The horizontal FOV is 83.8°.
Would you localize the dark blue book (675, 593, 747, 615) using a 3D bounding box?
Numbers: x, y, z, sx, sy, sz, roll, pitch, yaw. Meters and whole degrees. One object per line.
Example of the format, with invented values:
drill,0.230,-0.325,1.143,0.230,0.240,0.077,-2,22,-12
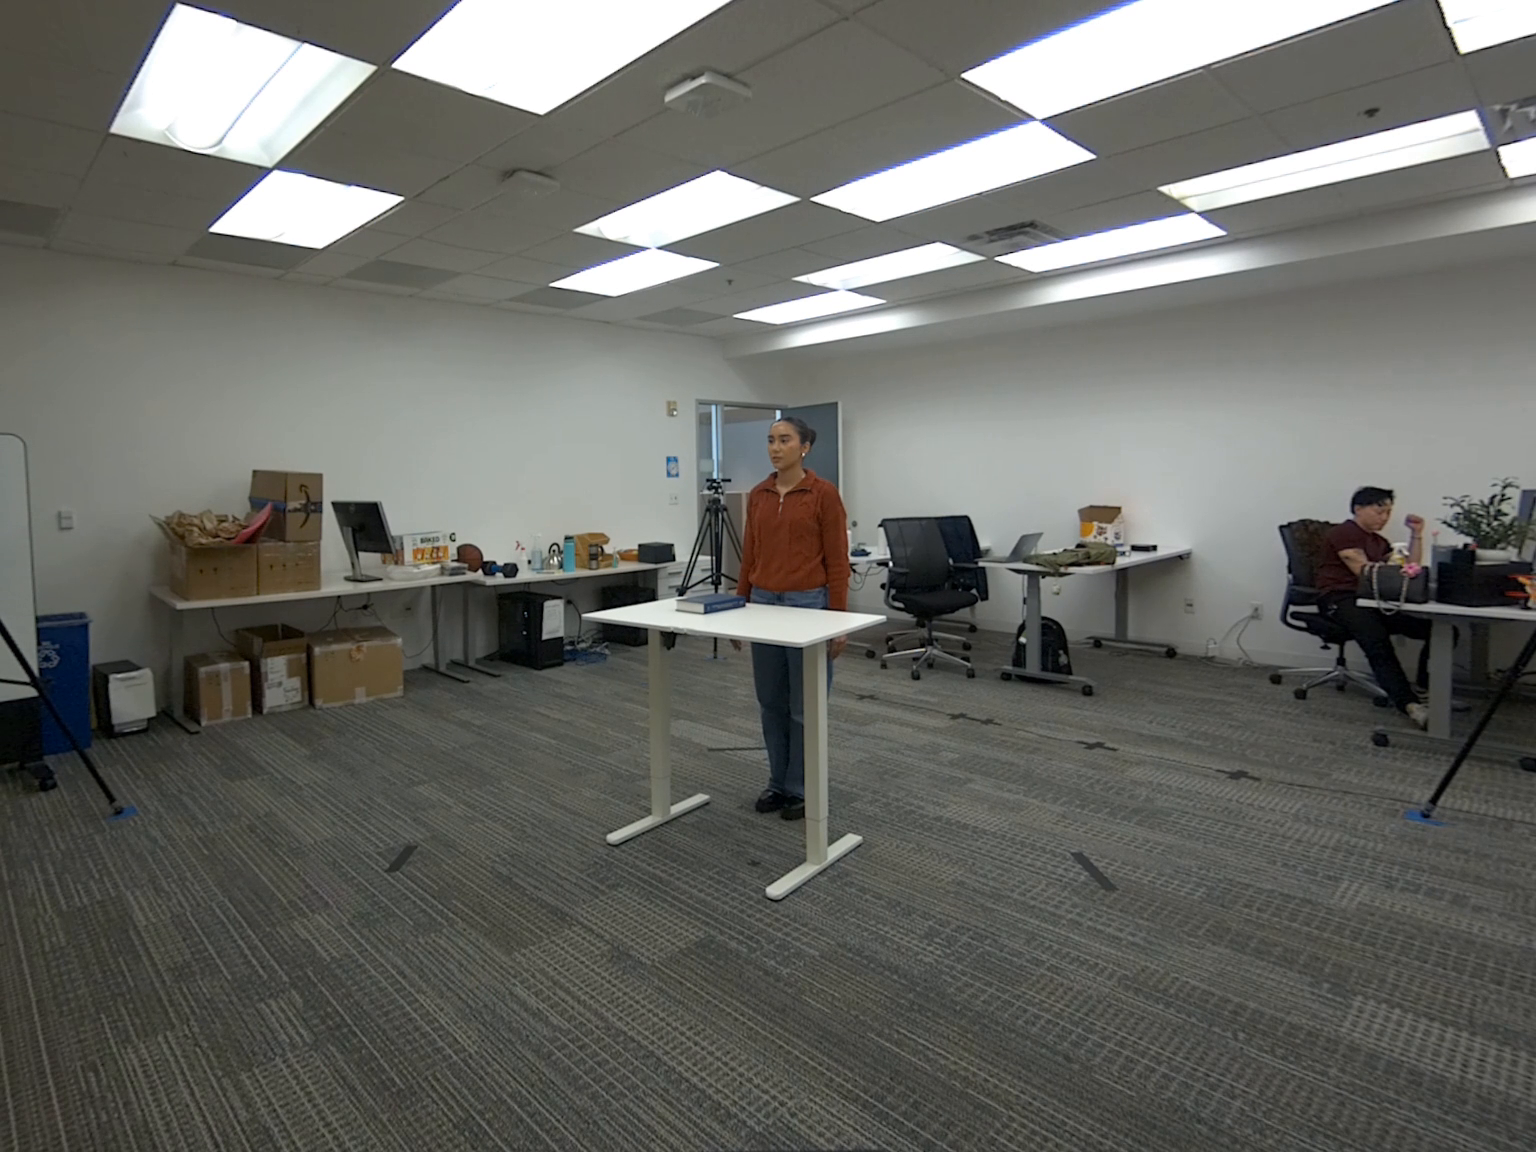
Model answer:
dark blue book,-0.226,0.112,3.408,0.168,0.045,0.239,5,9,40
